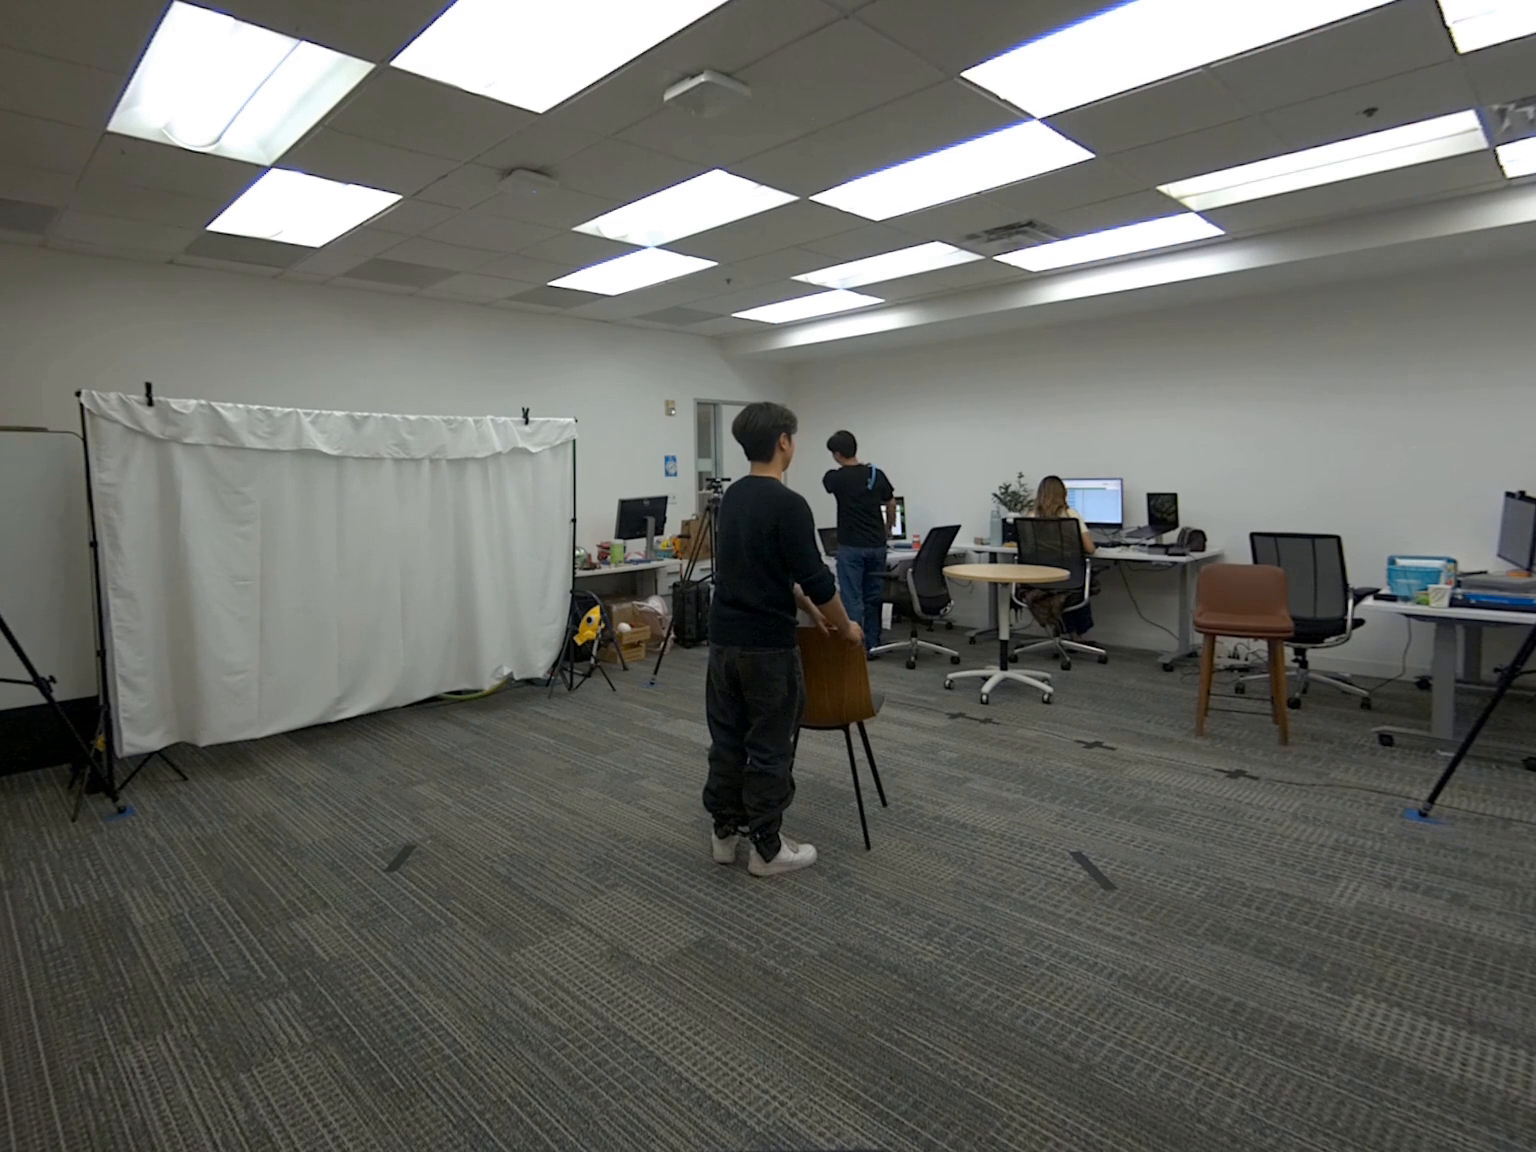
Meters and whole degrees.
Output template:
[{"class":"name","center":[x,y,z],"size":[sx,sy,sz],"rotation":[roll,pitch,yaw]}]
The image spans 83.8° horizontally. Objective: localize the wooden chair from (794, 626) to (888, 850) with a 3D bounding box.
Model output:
[{"class":"wooden chair","center":[0.217,0.570,3.455],"size":[0.486,0.871,0.518],"rotation":[0,8,17]}]
